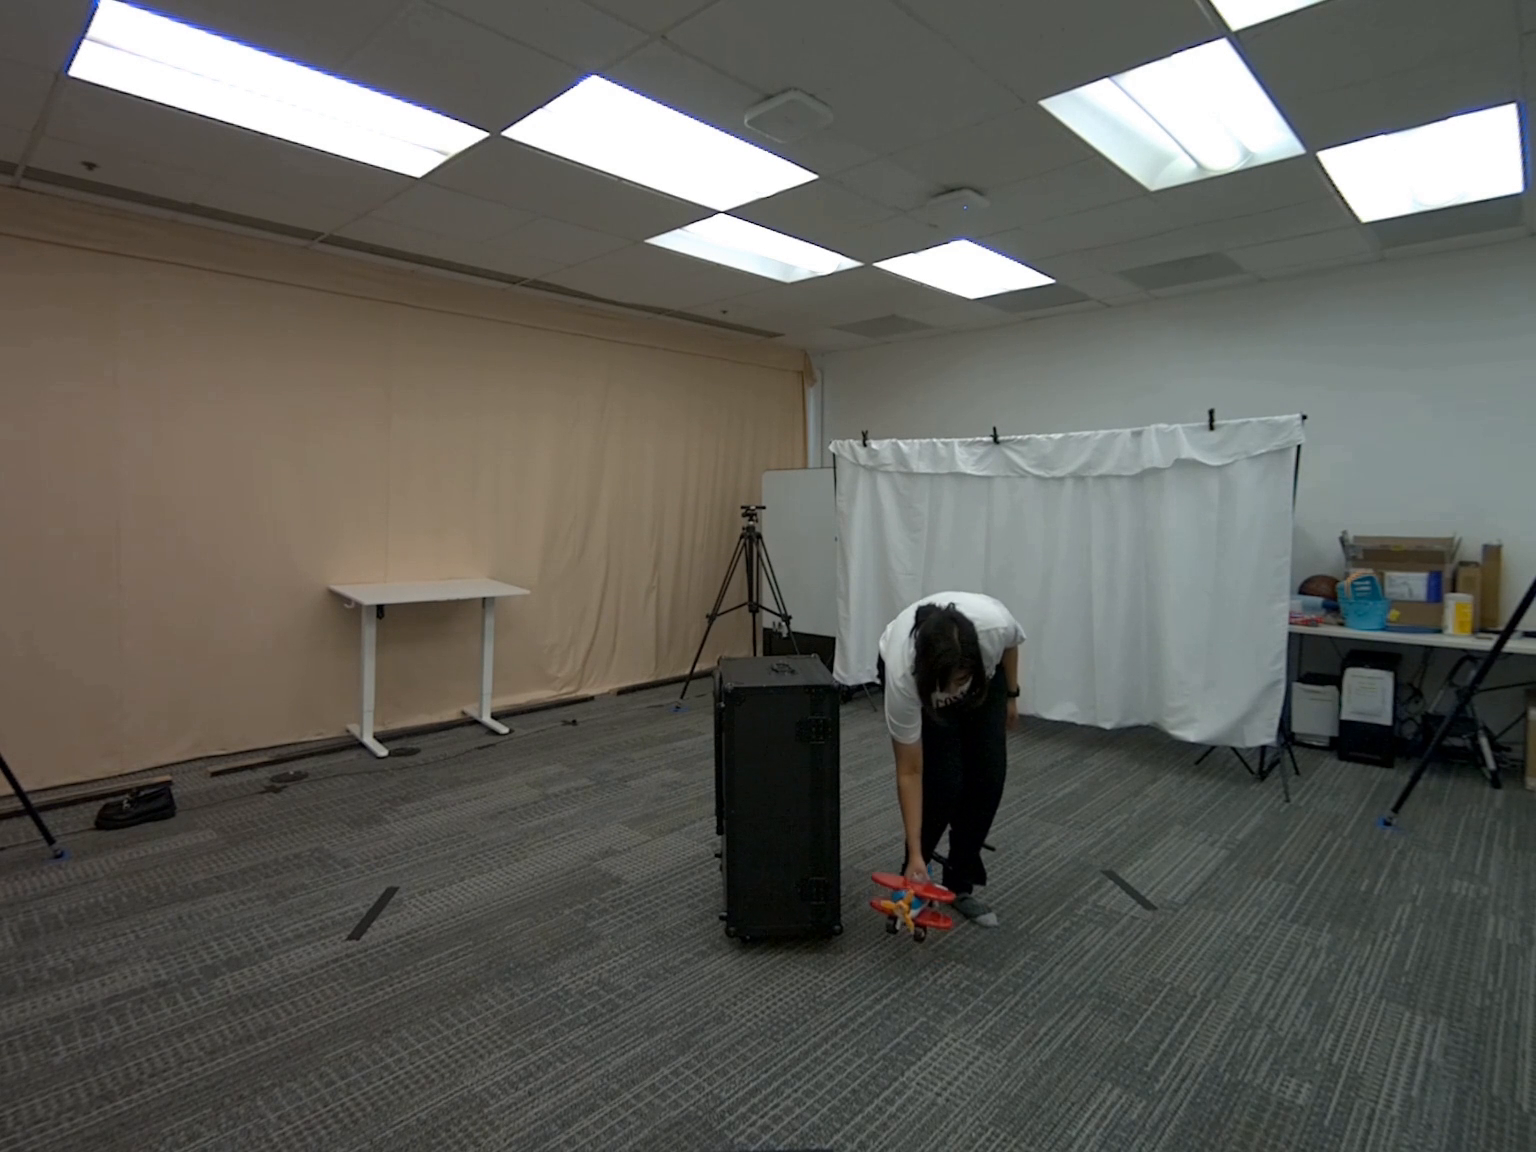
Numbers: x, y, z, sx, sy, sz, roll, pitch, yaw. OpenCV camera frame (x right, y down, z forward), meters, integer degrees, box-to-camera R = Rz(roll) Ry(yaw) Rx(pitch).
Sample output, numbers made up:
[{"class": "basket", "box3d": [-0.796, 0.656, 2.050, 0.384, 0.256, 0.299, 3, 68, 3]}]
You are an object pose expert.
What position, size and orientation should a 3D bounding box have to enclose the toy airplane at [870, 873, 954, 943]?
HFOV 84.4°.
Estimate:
[{"class": "toy airplane", "box3d": [0.444, 0.997, 2.585, 0.252, 0.155, 0.260, -2, 14, 2]}]
